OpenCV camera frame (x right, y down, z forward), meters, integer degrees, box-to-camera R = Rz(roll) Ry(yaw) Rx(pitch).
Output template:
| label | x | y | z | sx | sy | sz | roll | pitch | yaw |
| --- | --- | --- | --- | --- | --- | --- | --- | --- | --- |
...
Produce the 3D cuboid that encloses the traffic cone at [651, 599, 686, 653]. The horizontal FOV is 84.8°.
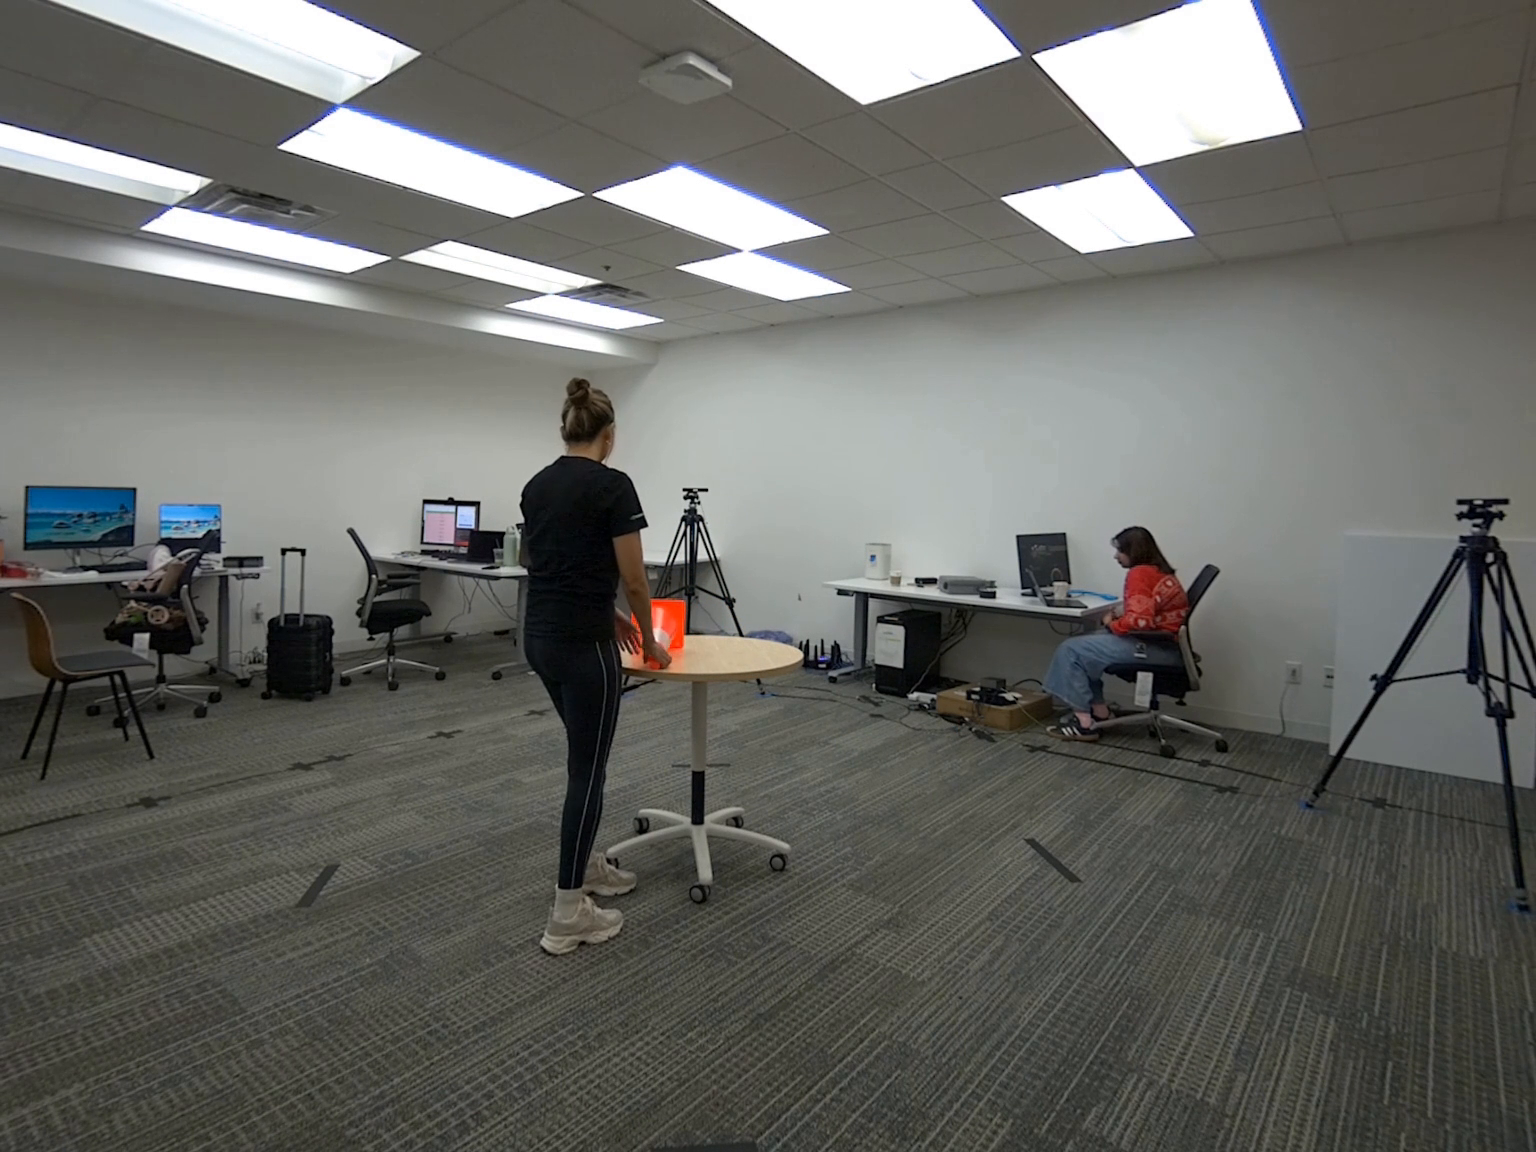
| label | x | y | z | sx | sy | sz | roll | pitch | yaw |
| --- | --- | --- | --- | --- | --- | --- | --- | --- | --- |
| traffic cone | -0.402 | 0.239 | 3.006 | 0.202 | 0.201 | 0.392 | 11 | 14 | -12 |
